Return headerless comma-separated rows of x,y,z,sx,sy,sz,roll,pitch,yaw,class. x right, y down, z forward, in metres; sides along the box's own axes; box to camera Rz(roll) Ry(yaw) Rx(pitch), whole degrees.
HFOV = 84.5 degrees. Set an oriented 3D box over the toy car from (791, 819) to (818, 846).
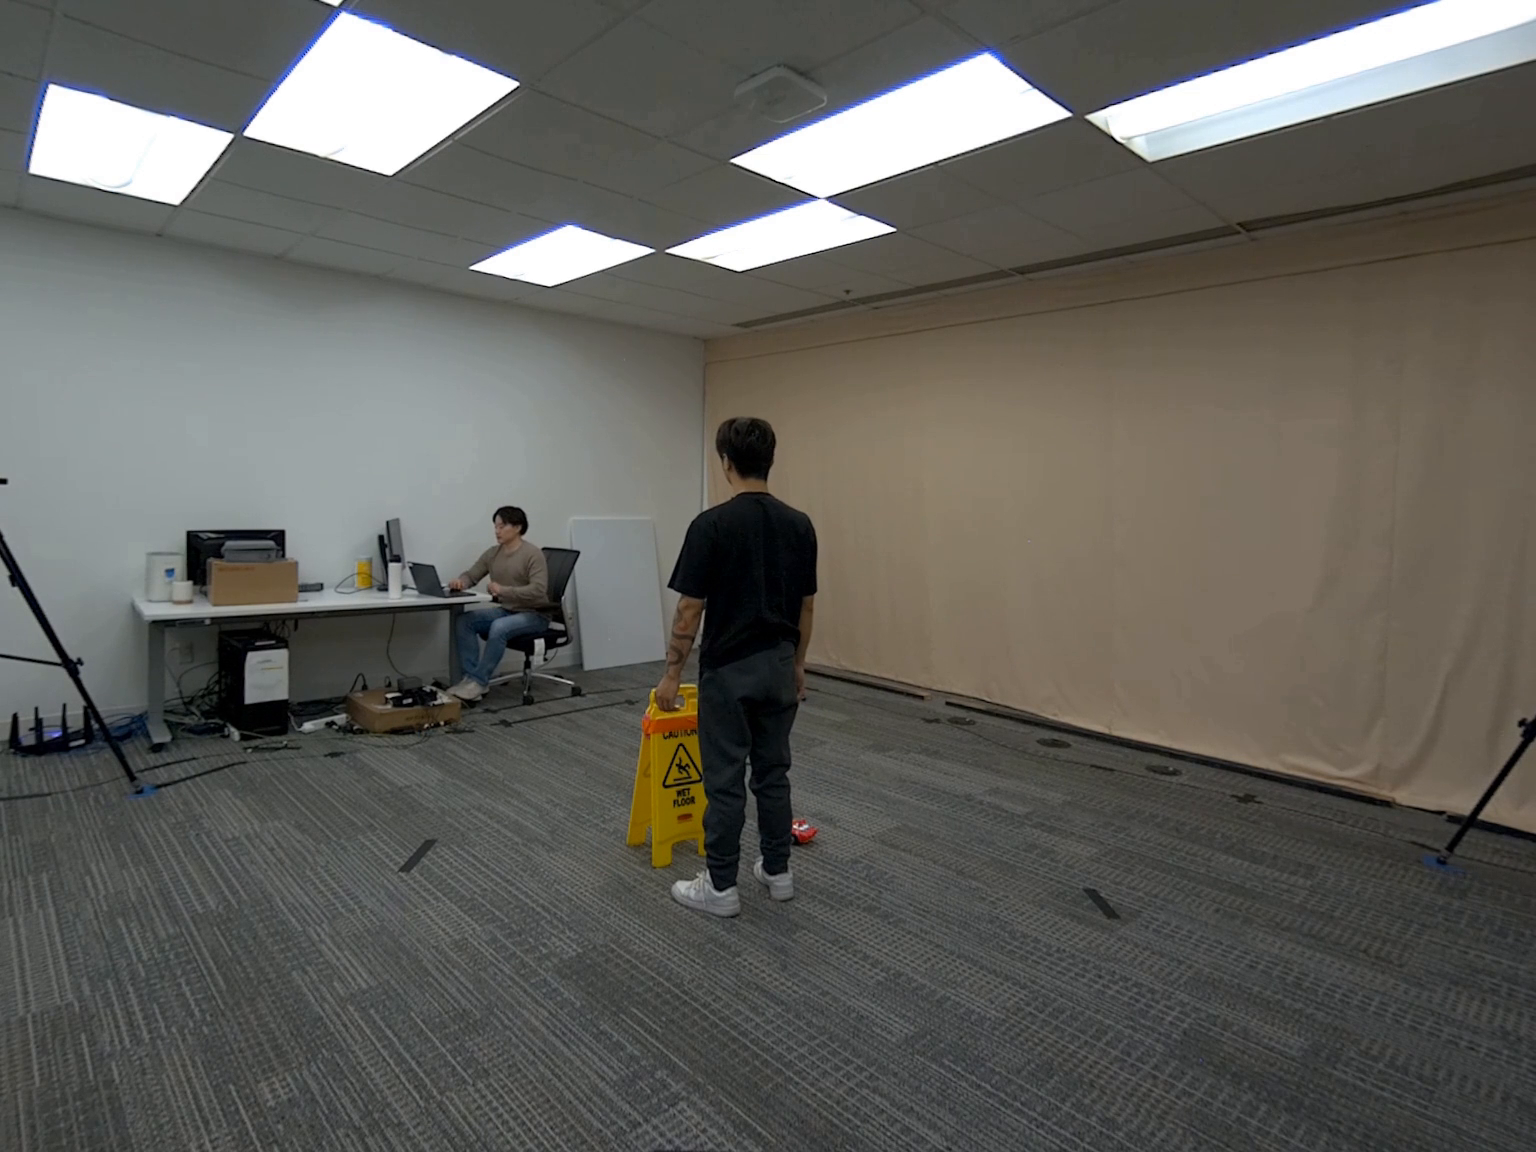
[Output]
0.079,1.052,3.469,0.259,0.083,0.127,-8,-2,33,toy car
